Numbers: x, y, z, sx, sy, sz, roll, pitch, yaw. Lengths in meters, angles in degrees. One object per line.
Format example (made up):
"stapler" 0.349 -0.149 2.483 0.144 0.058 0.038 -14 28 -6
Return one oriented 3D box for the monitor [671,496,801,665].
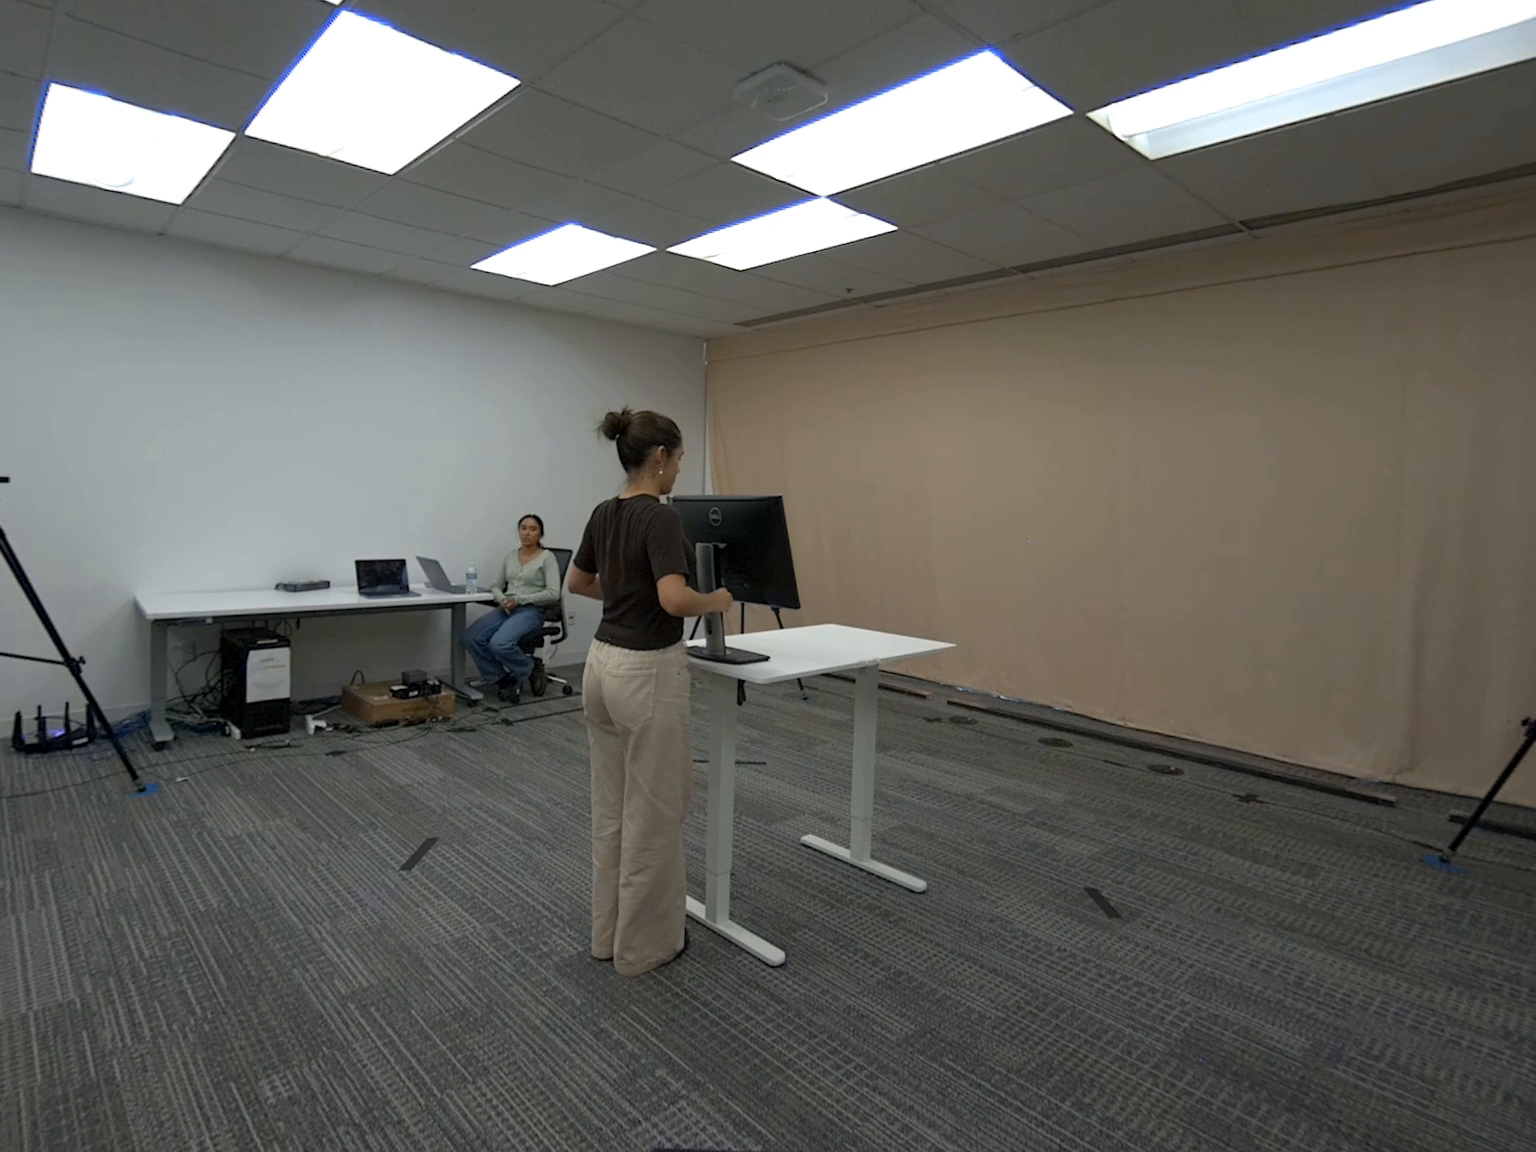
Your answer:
"monitor" -0.142 0.002 2.660 0.170 0.516 0.543 2 1 -45
